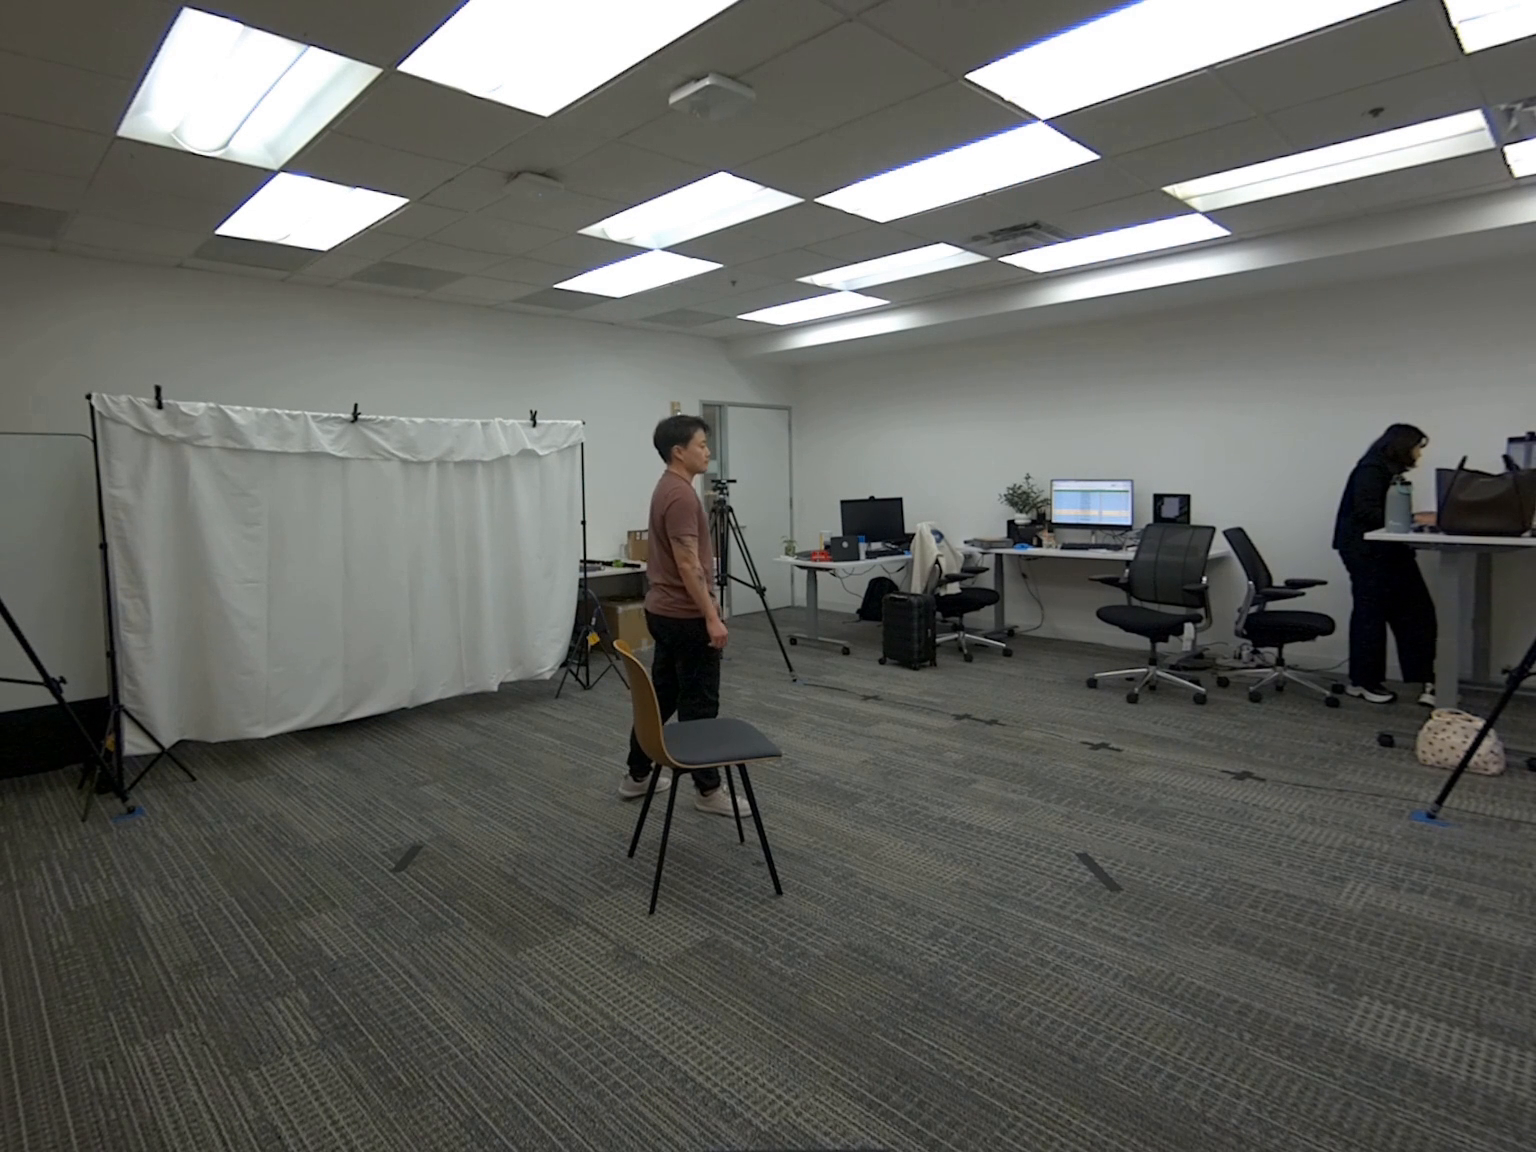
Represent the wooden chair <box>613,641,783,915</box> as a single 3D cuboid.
[{"bbox_3d":[-0.237,0.639,2.999,0.516,0.873,0.487,-6,5,-16],"label":"wooden chair"}]
